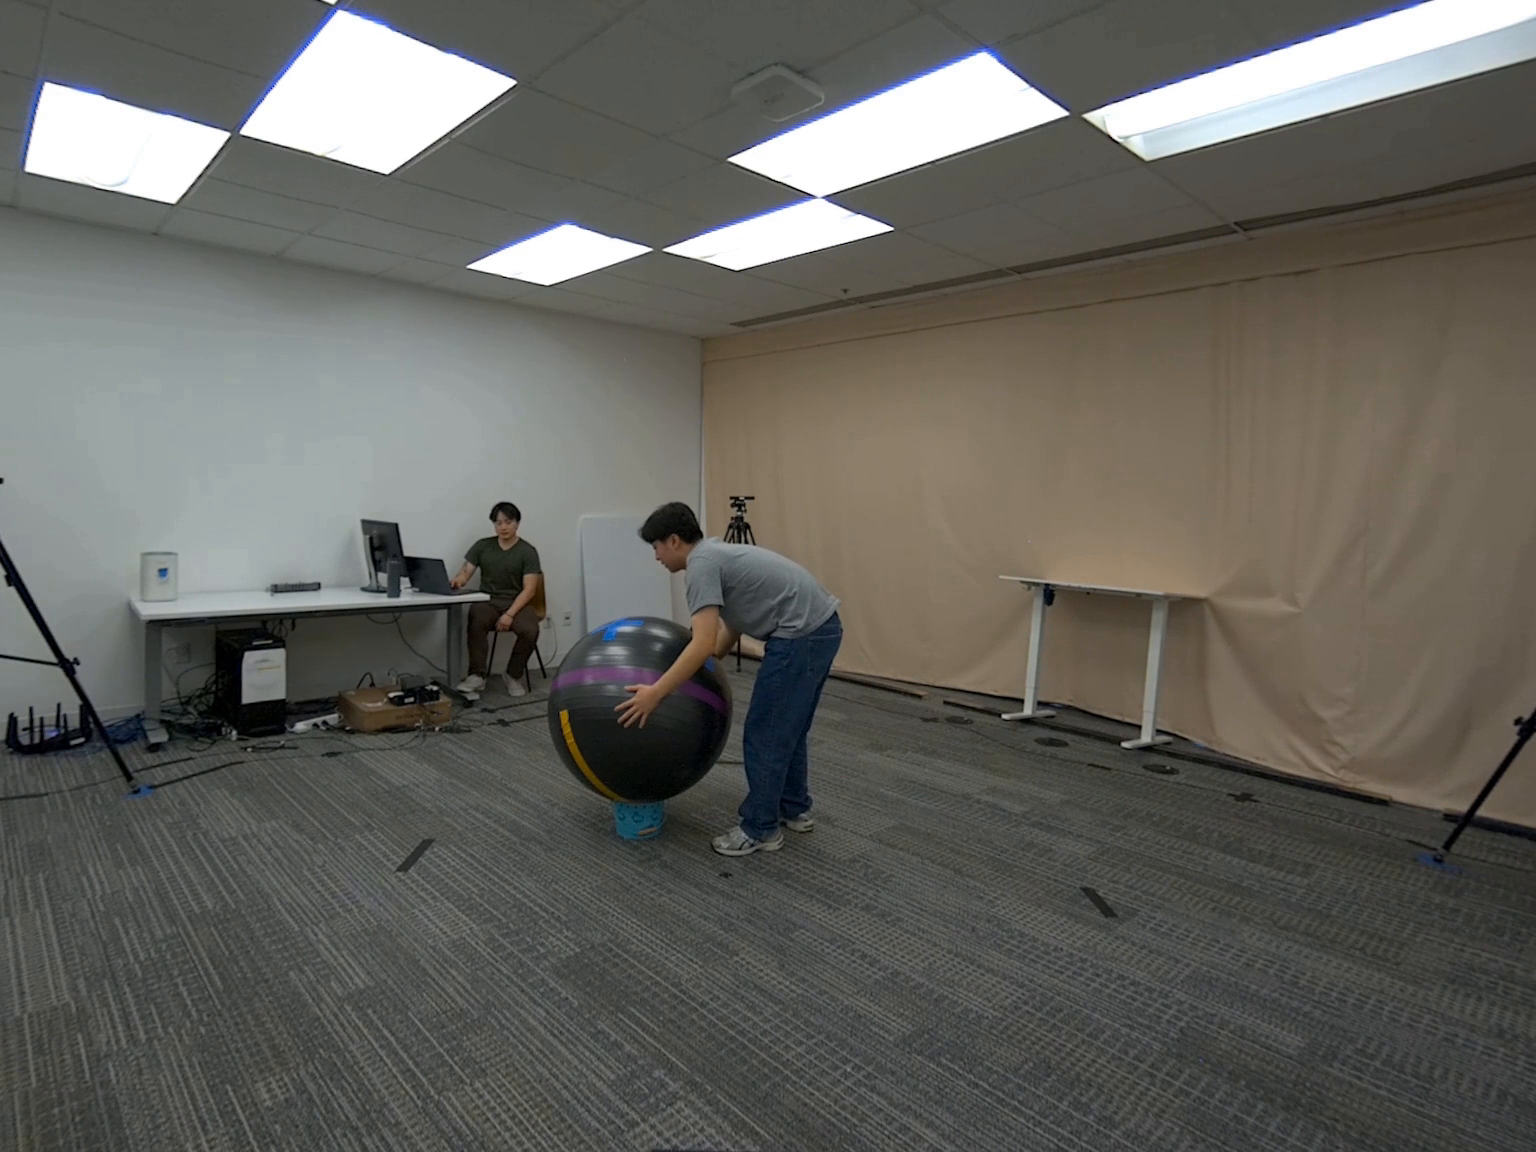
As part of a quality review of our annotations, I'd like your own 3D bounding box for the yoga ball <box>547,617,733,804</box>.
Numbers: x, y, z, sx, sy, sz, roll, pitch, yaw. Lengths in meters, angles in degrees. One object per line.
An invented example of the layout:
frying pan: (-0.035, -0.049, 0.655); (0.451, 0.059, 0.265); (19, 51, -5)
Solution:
yoga ball: (-0.536, 0.555, 3.498); (0.757, 0.756, 0.761); (1, 4, -1)
